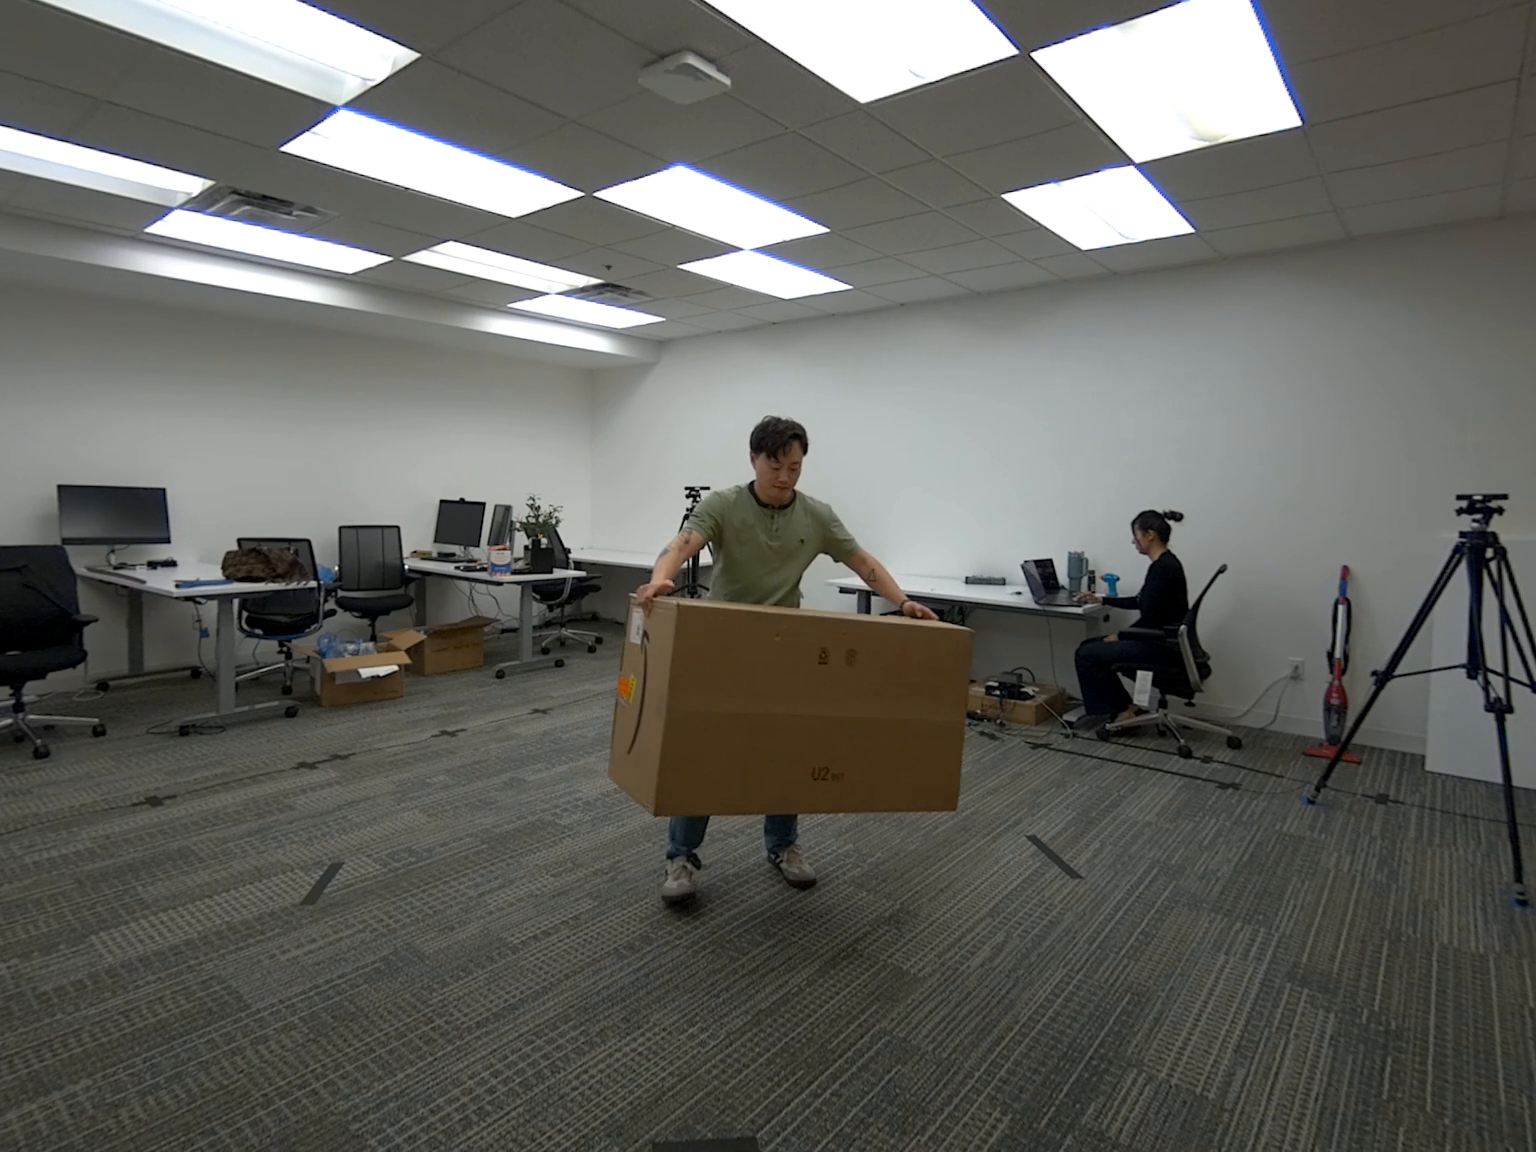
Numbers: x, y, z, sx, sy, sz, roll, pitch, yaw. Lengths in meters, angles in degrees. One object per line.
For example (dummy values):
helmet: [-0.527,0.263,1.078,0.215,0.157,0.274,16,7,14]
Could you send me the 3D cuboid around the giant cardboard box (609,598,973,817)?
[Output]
giant cardboard box: [0.073,0.391,2.659,0.999,0.579,0.436,7,-3,-25]
